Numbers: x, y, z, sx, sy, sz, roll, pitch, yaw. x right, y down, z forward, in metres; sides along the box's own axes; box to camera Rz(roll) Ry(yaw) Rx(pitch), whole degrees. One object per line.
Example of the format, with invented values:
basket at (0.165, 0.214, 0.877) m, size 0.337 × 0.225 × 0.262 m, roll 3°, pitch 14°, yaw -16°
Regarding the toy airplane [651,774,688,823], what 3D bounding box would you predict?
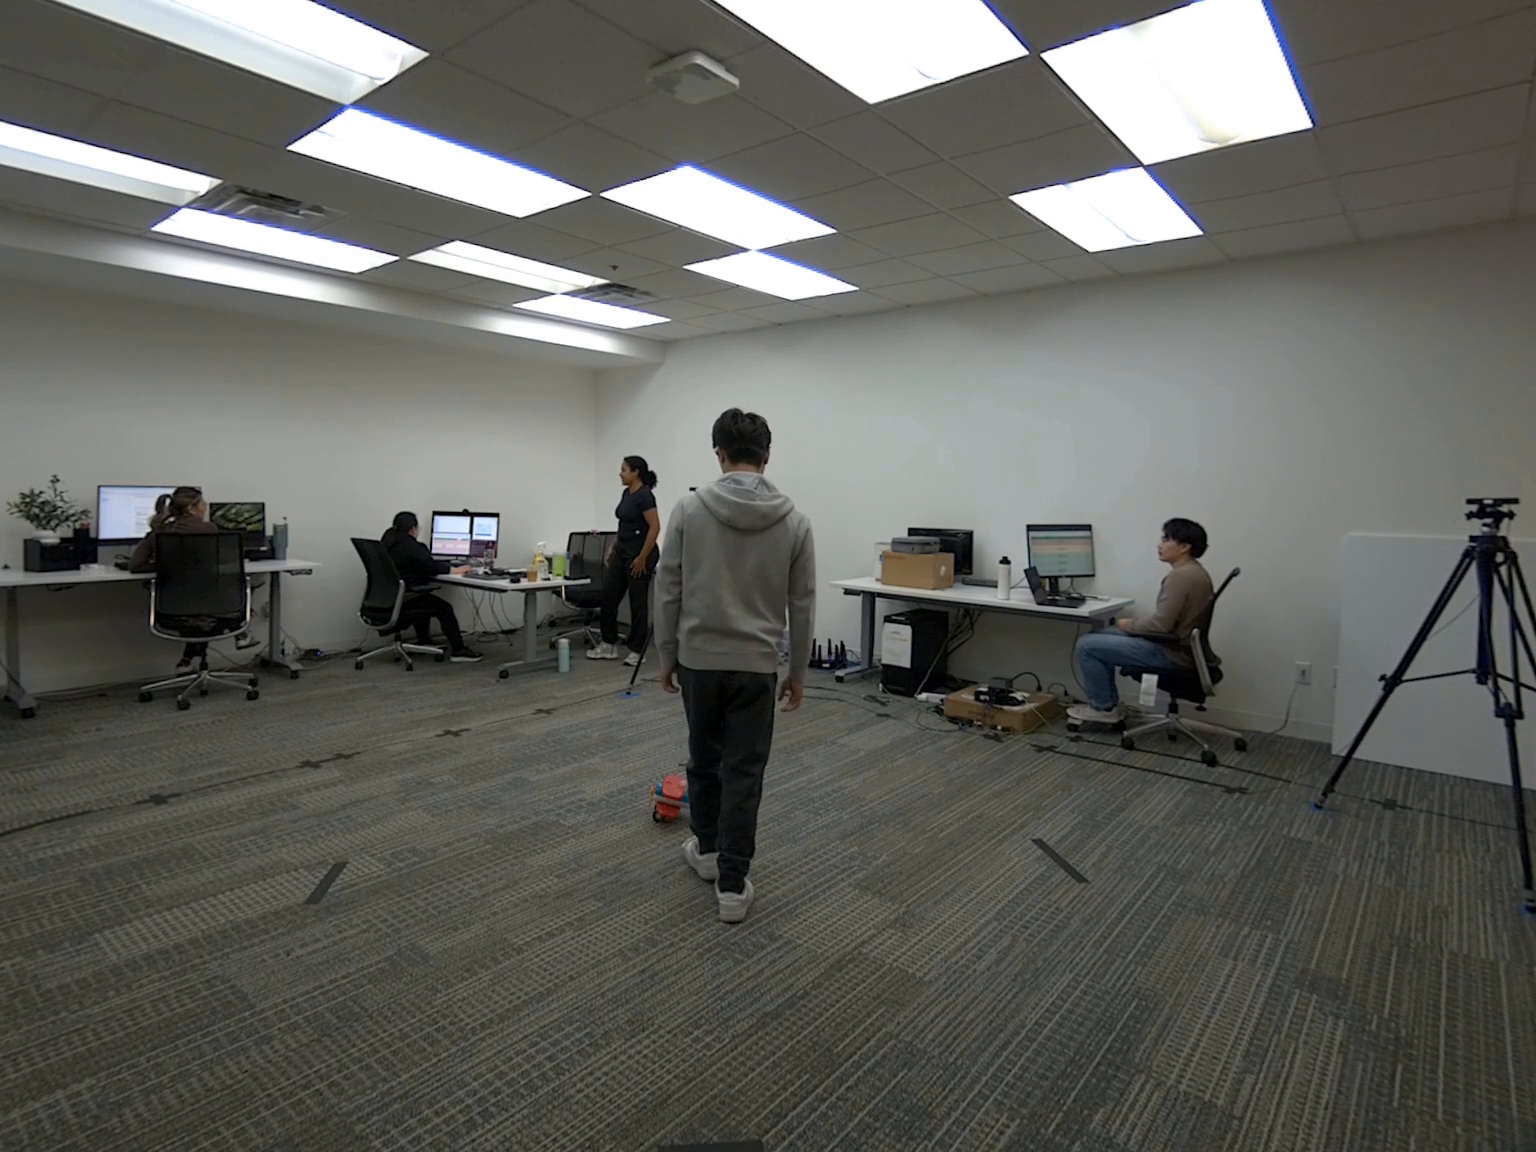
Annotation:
toy airplane at (-0.387, 0.943, 3.599) m, size 0.252 × 0.156 × 0.259 m, roll -3°, pitch 6°, yaw -29°
